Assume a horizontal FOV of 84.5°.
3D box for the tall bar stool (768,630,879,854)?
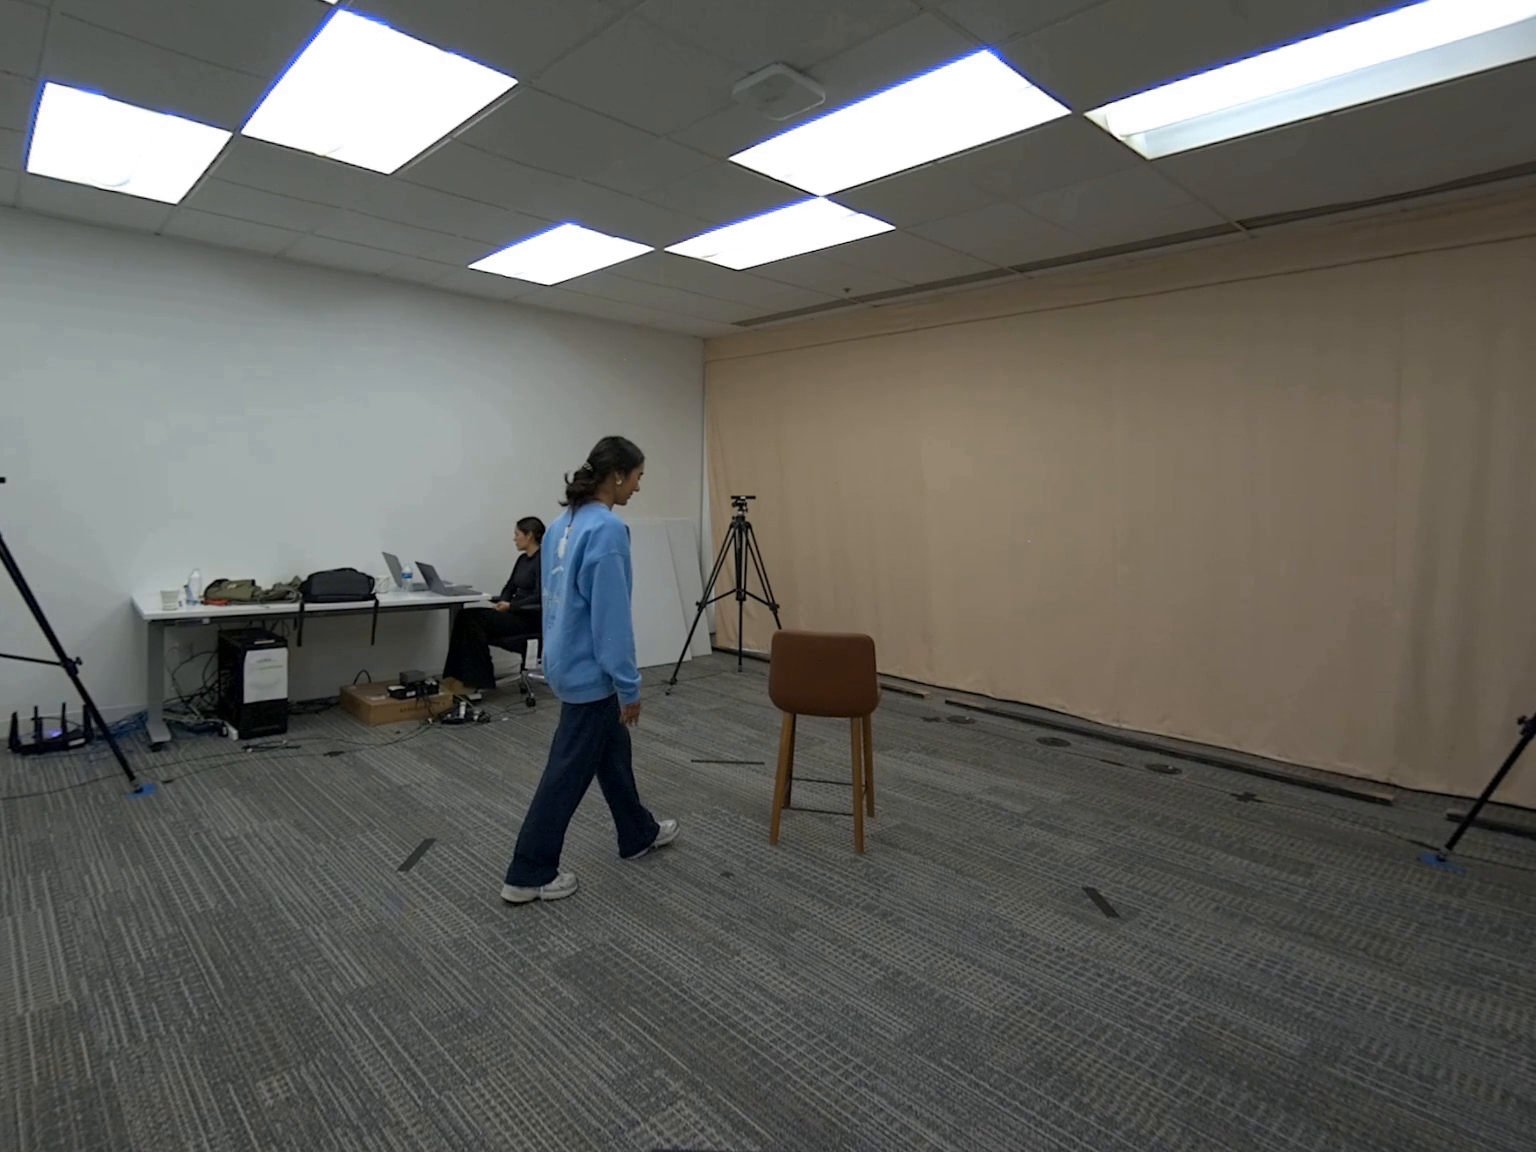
[{"bbox_3d":[0.234,0.639,3.543,0.461,0.887,0.464,2,4,13],"label":"tall bar stool"}]
